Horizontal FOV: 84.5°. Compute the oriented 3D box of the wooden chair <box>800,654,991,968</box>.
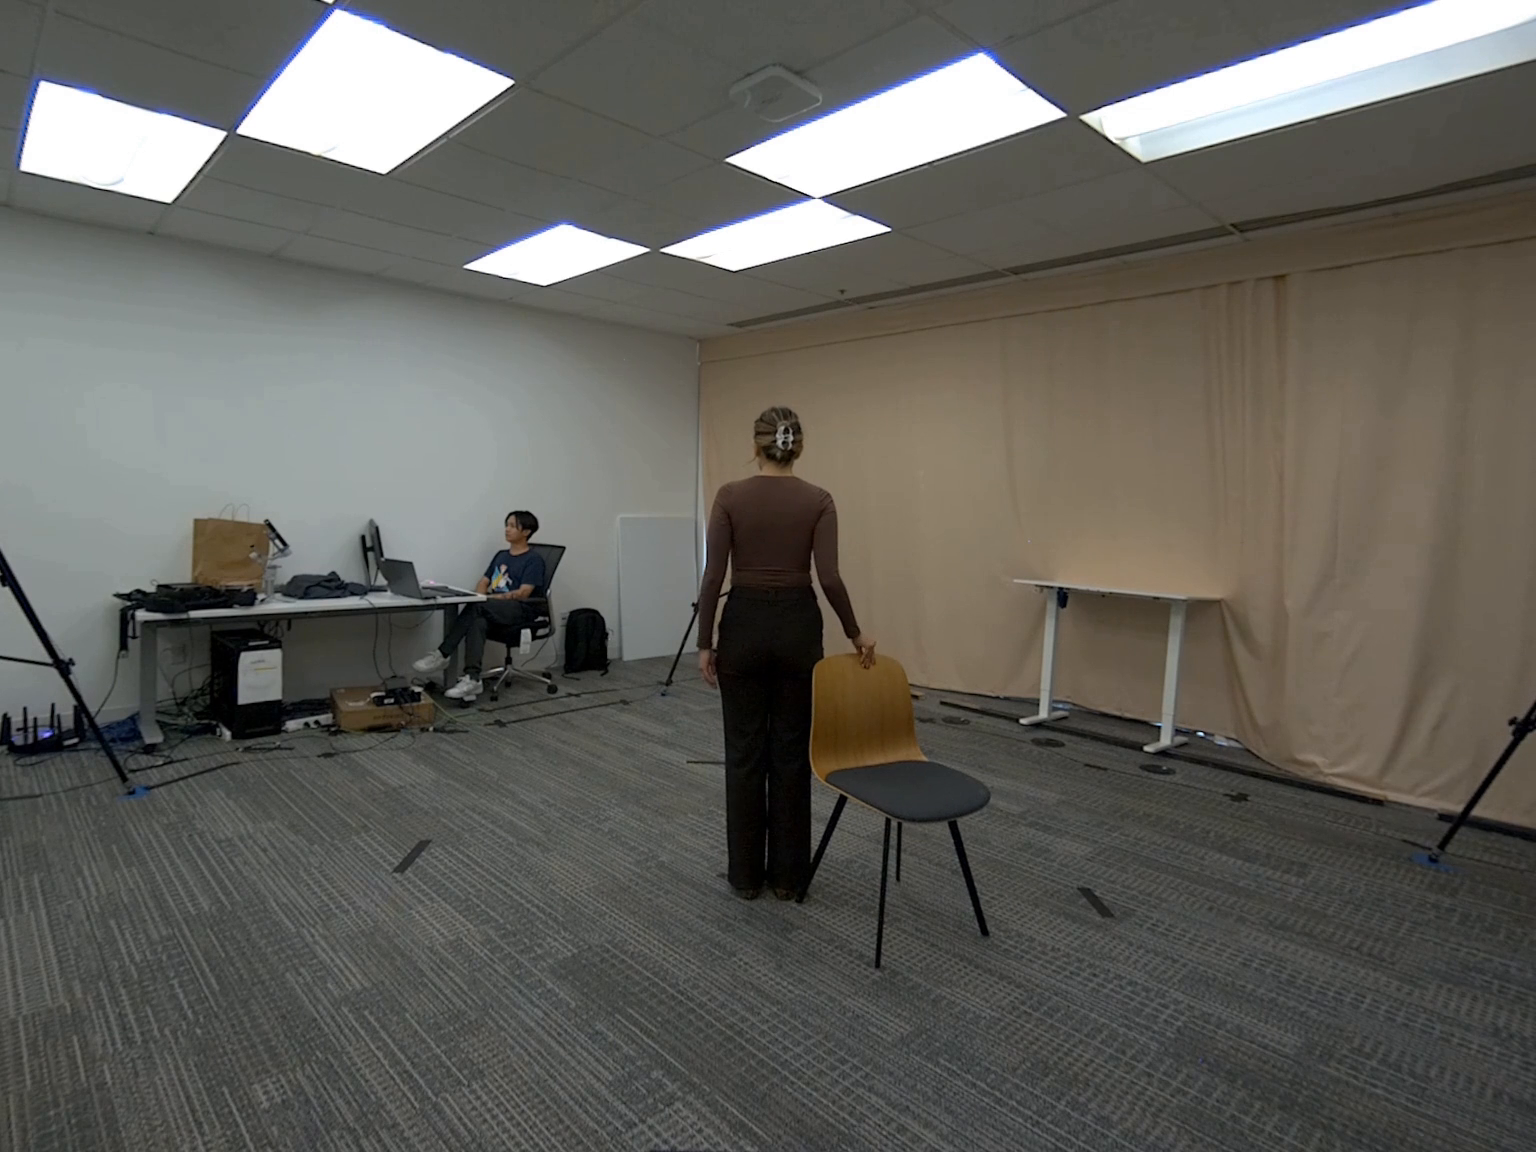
[{"bbox_3d":[0.412,0.725,2.767,0.469,0.878,0.533,0,-1,-29],"label":"wooden chair"}]
